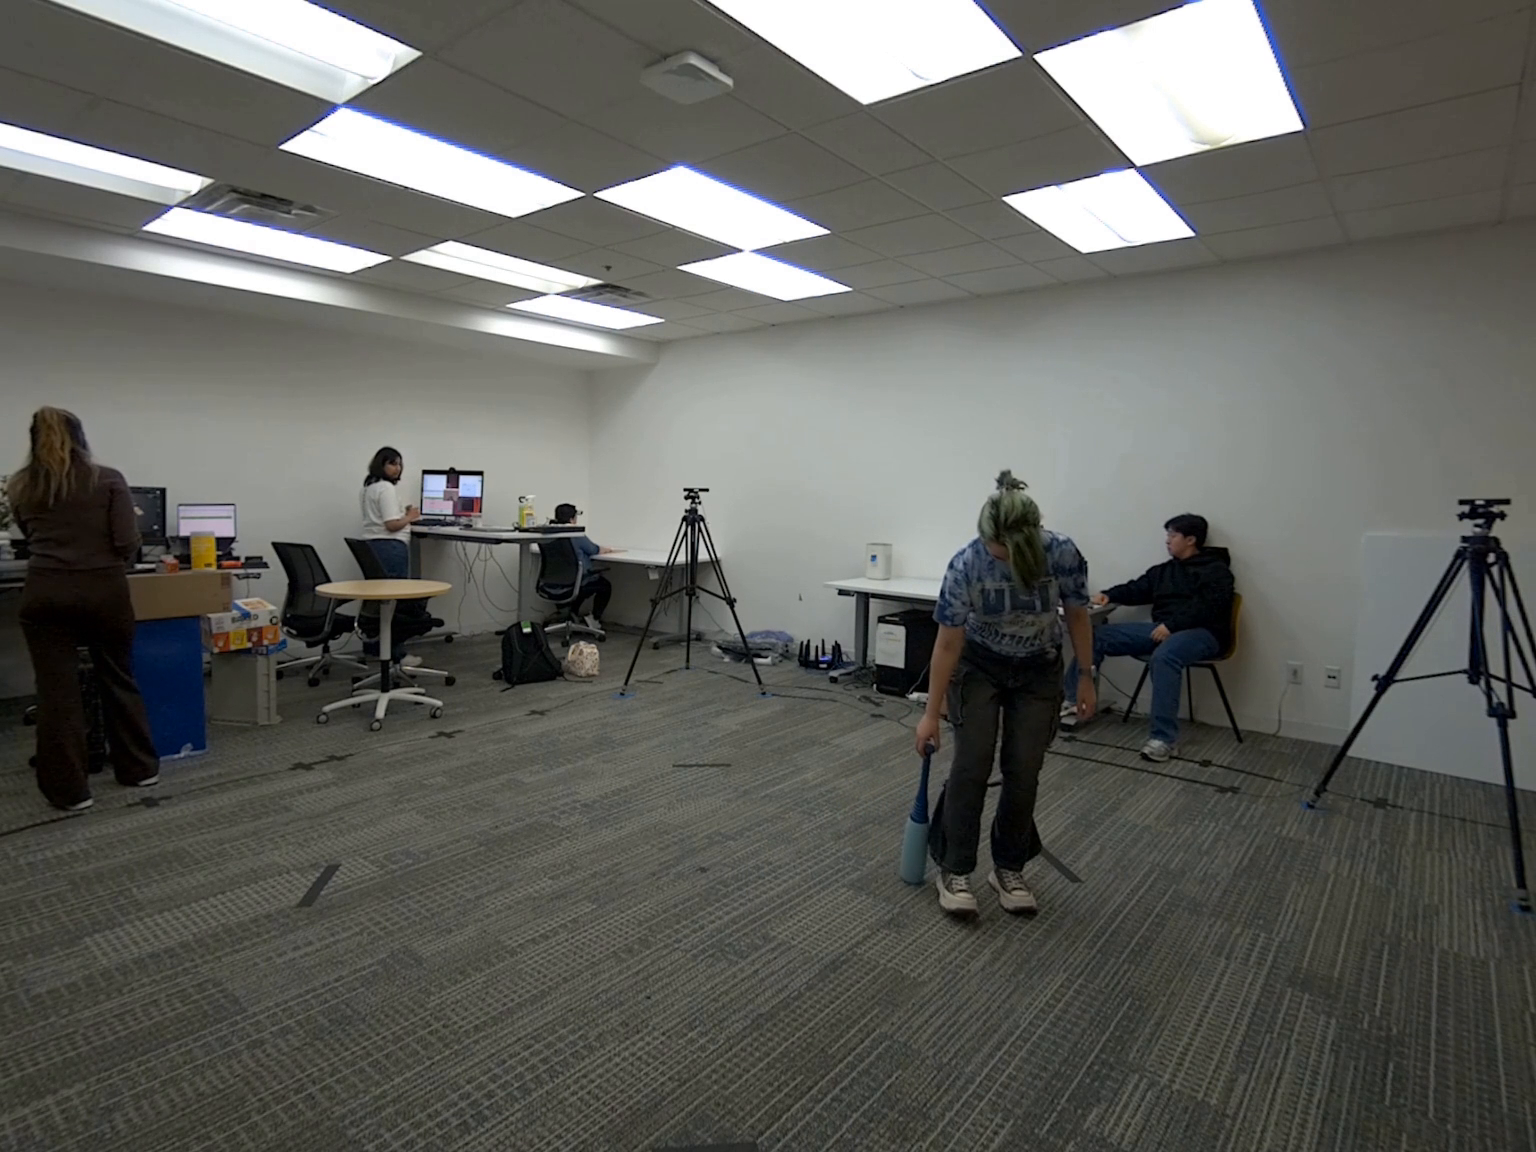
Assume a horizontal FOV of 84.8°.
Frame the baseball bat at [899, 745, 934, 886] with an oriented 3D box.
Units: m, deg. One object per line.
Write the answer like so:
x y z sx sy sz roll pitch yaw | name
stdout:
0.524 0.832 2.998 0.089 0.535 0.090 3 16 -3 | baseball bat
